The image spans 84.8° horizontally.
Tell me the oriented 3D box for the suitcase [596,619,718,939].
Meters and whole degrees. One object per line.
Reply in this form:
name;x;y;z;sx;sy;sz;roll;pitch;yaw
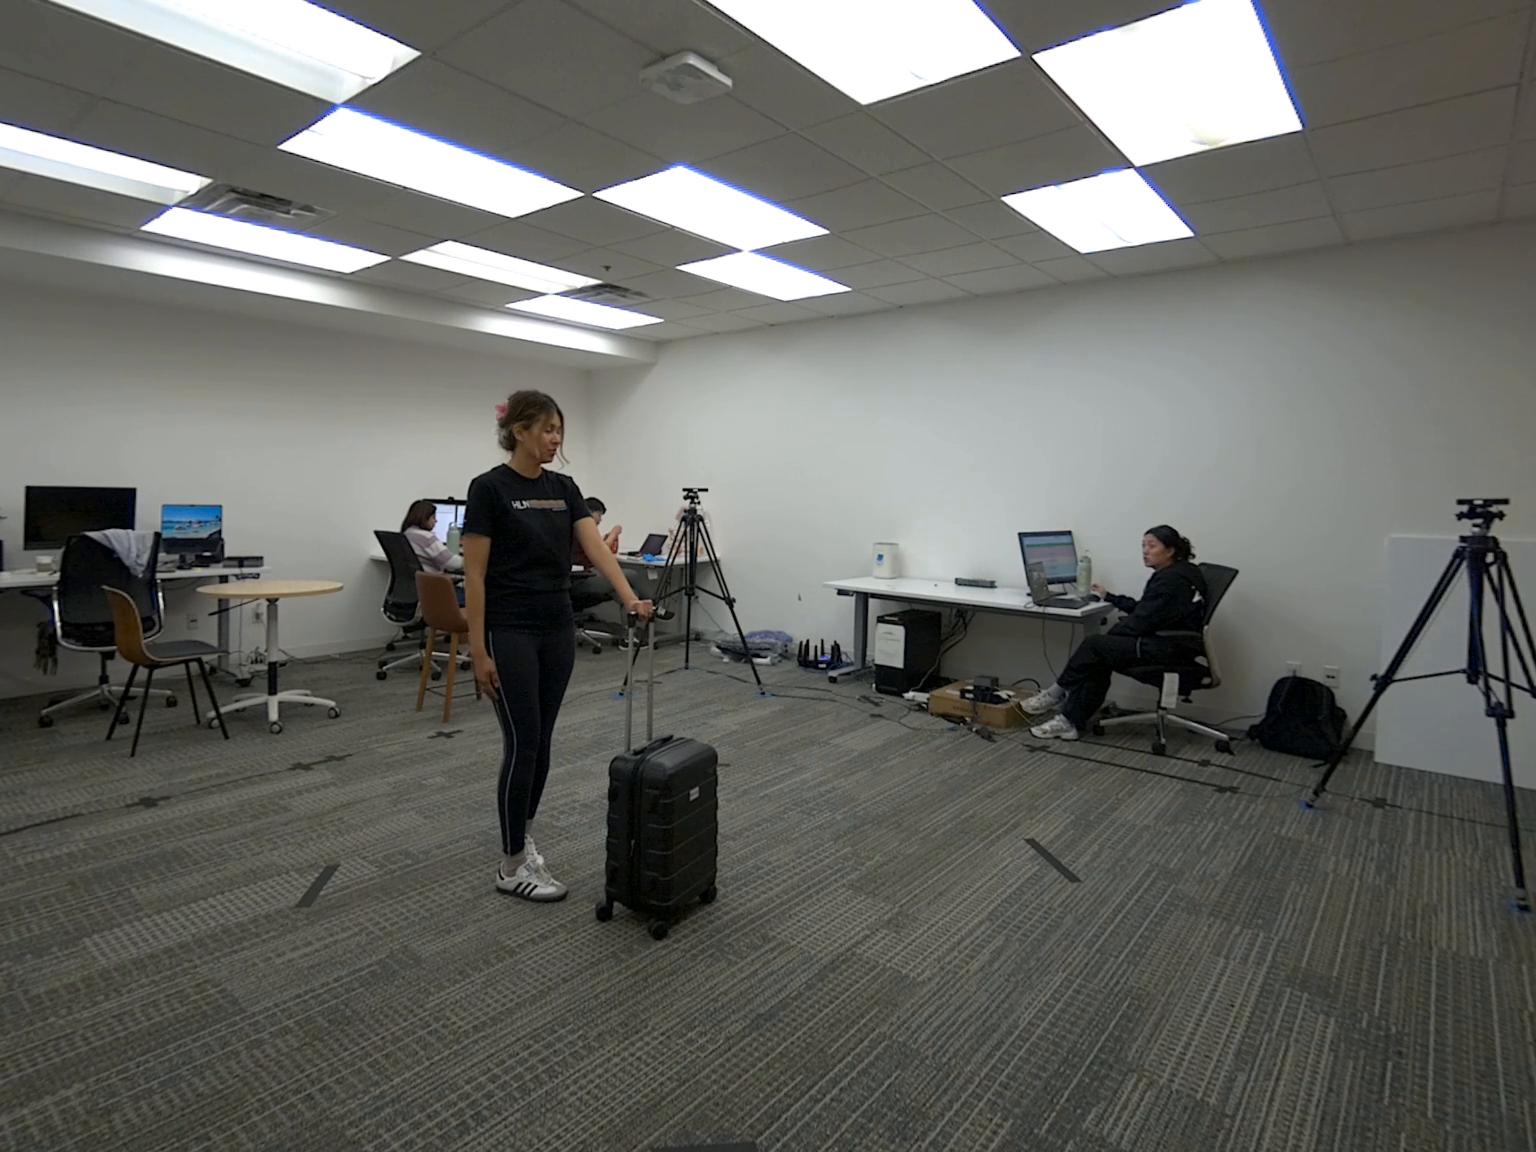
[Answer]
suitcase;-0.340;0.622;2.791;0.264;0.976;0.374;5;3;26
